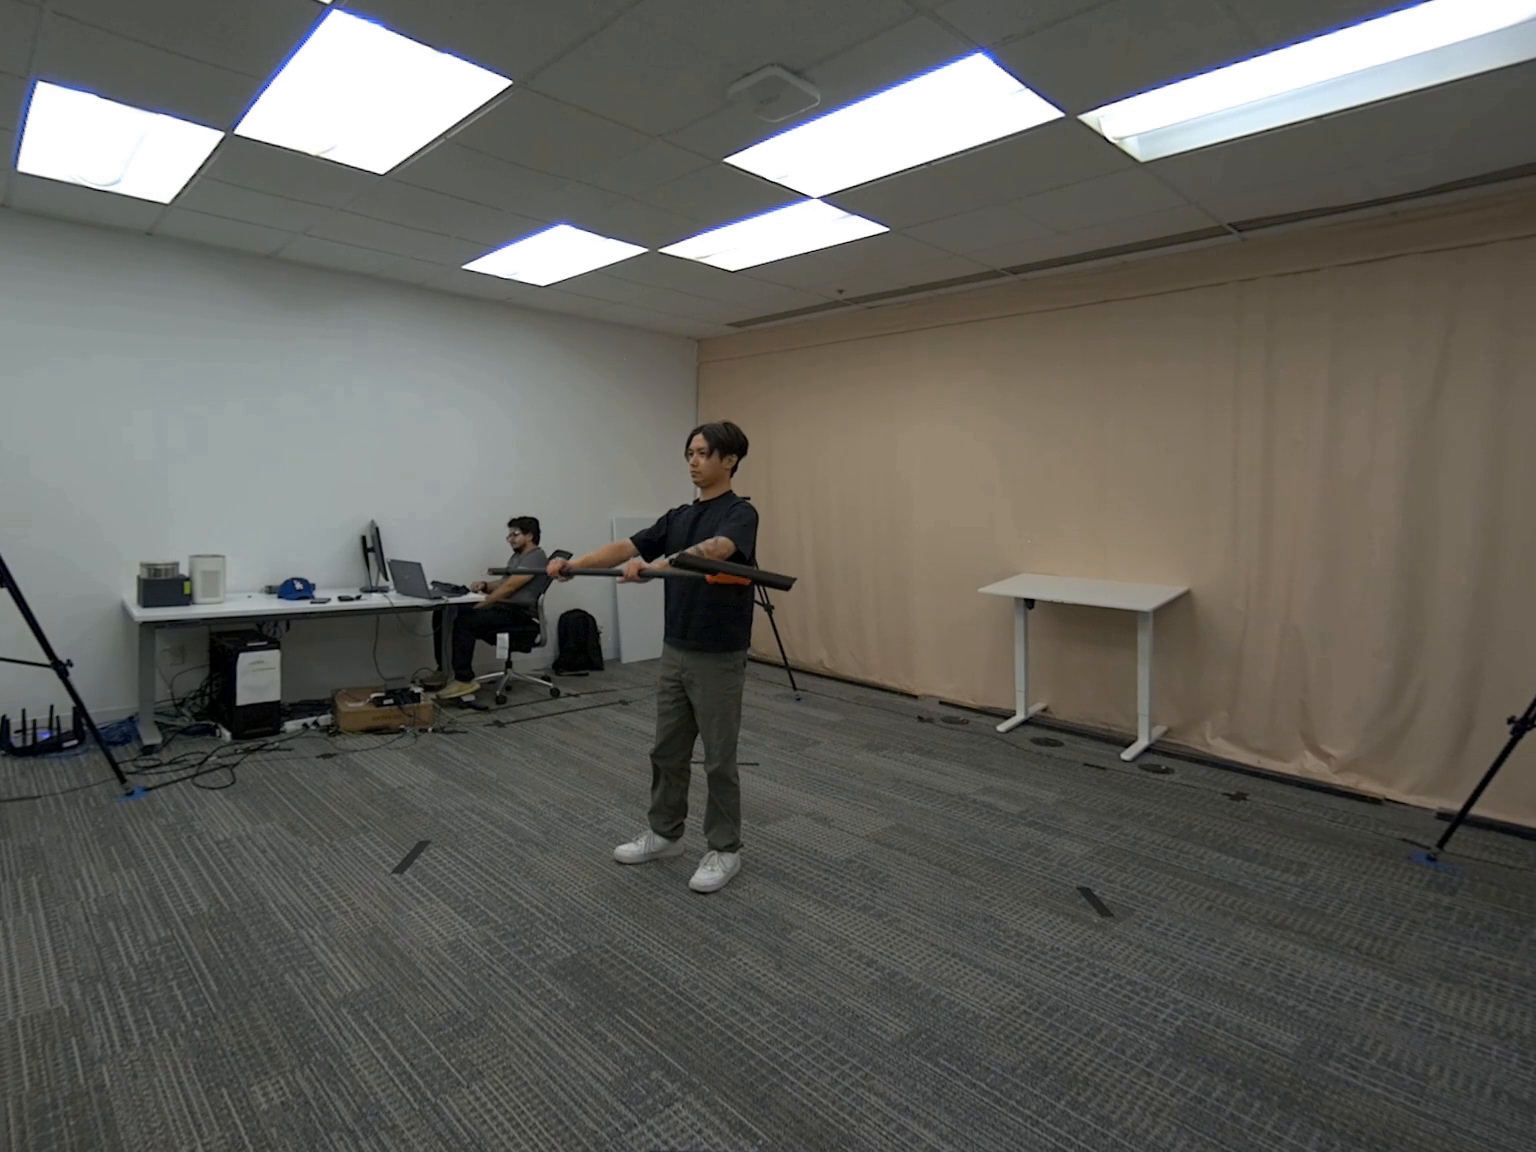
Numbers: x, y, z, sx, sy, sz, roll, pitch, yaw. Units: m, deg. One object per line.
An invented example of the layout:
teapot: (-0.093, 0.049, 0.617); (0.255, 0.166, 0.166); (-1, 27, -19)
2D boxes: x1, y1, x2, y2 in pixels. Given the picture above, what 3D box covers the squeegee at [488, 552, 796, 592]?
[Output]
squeegee: (-0.598, -0.017, 2.844); (0.426, 0.053, 1.574); (10, -6, -41)
